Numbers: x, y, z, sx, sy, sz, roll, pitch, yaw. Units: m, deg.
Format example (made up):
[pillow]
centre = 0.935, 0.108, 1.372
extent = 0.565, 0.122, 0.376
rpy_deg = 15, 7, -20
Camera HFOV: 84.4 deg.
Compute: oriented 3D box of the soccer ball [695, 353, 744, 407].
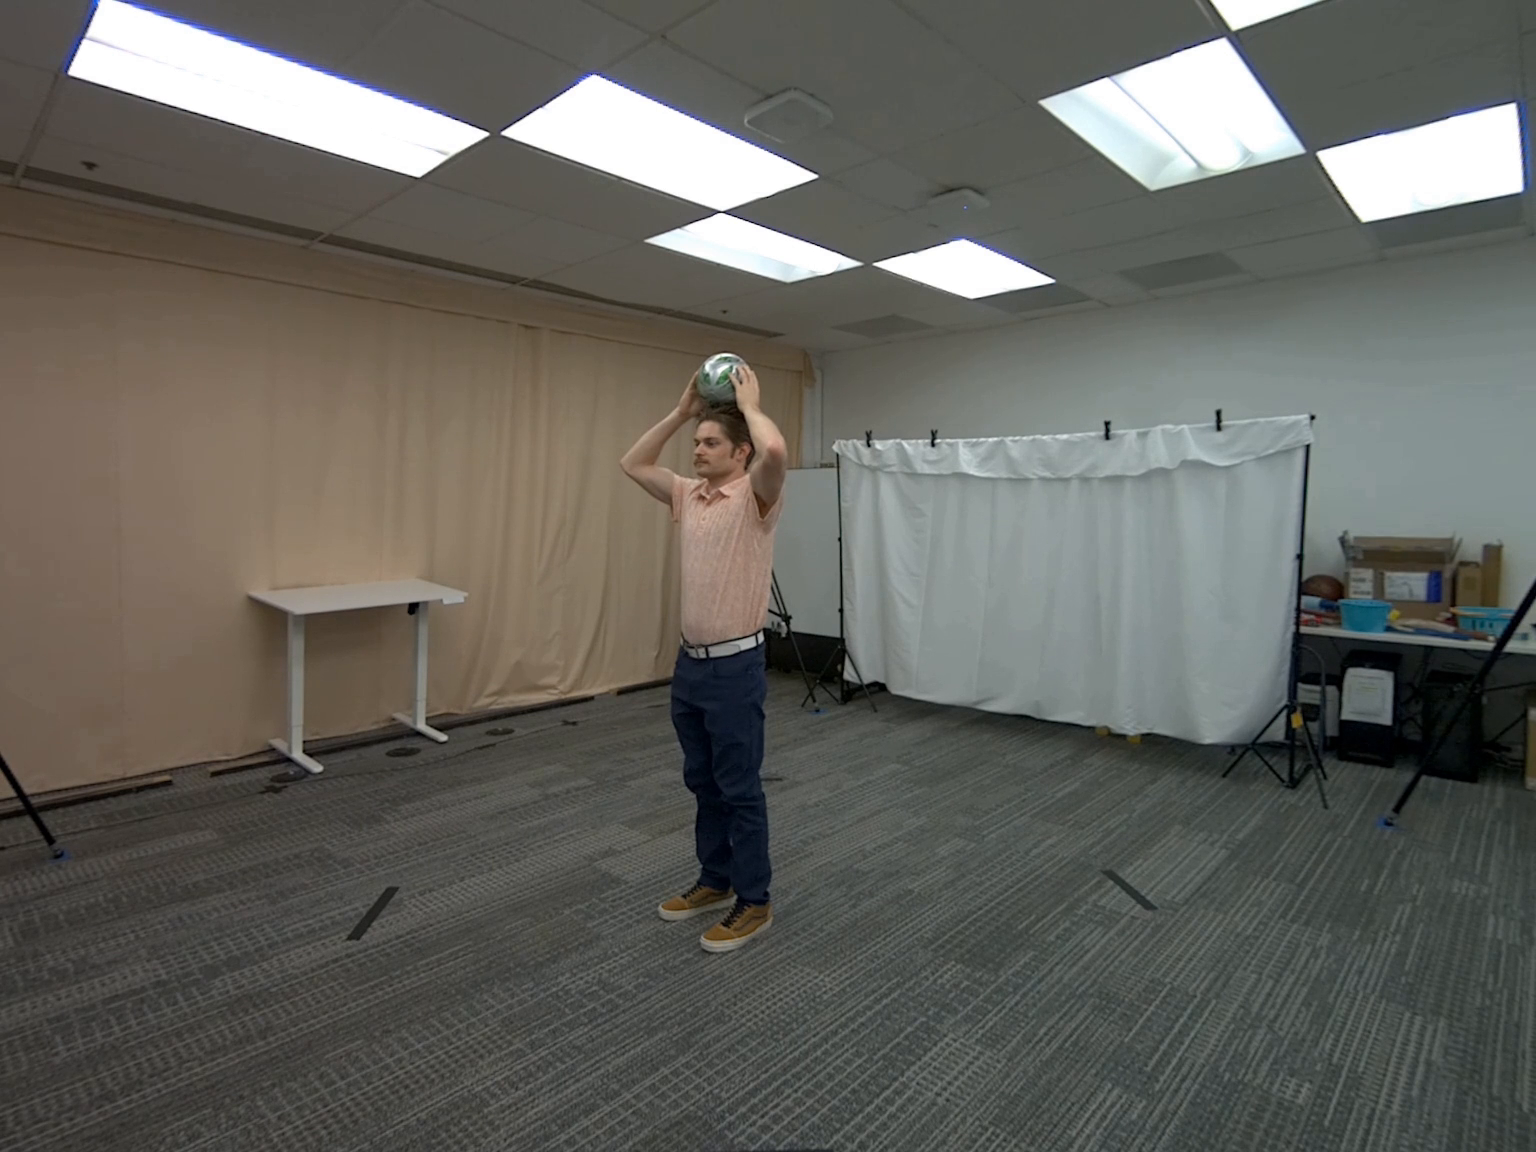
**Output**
[soccer ball]
centre = -0.134, -0.626, 2.767
extent = 0.187, 0.187, 0.188
rpy_deg = 0, 4, -2
